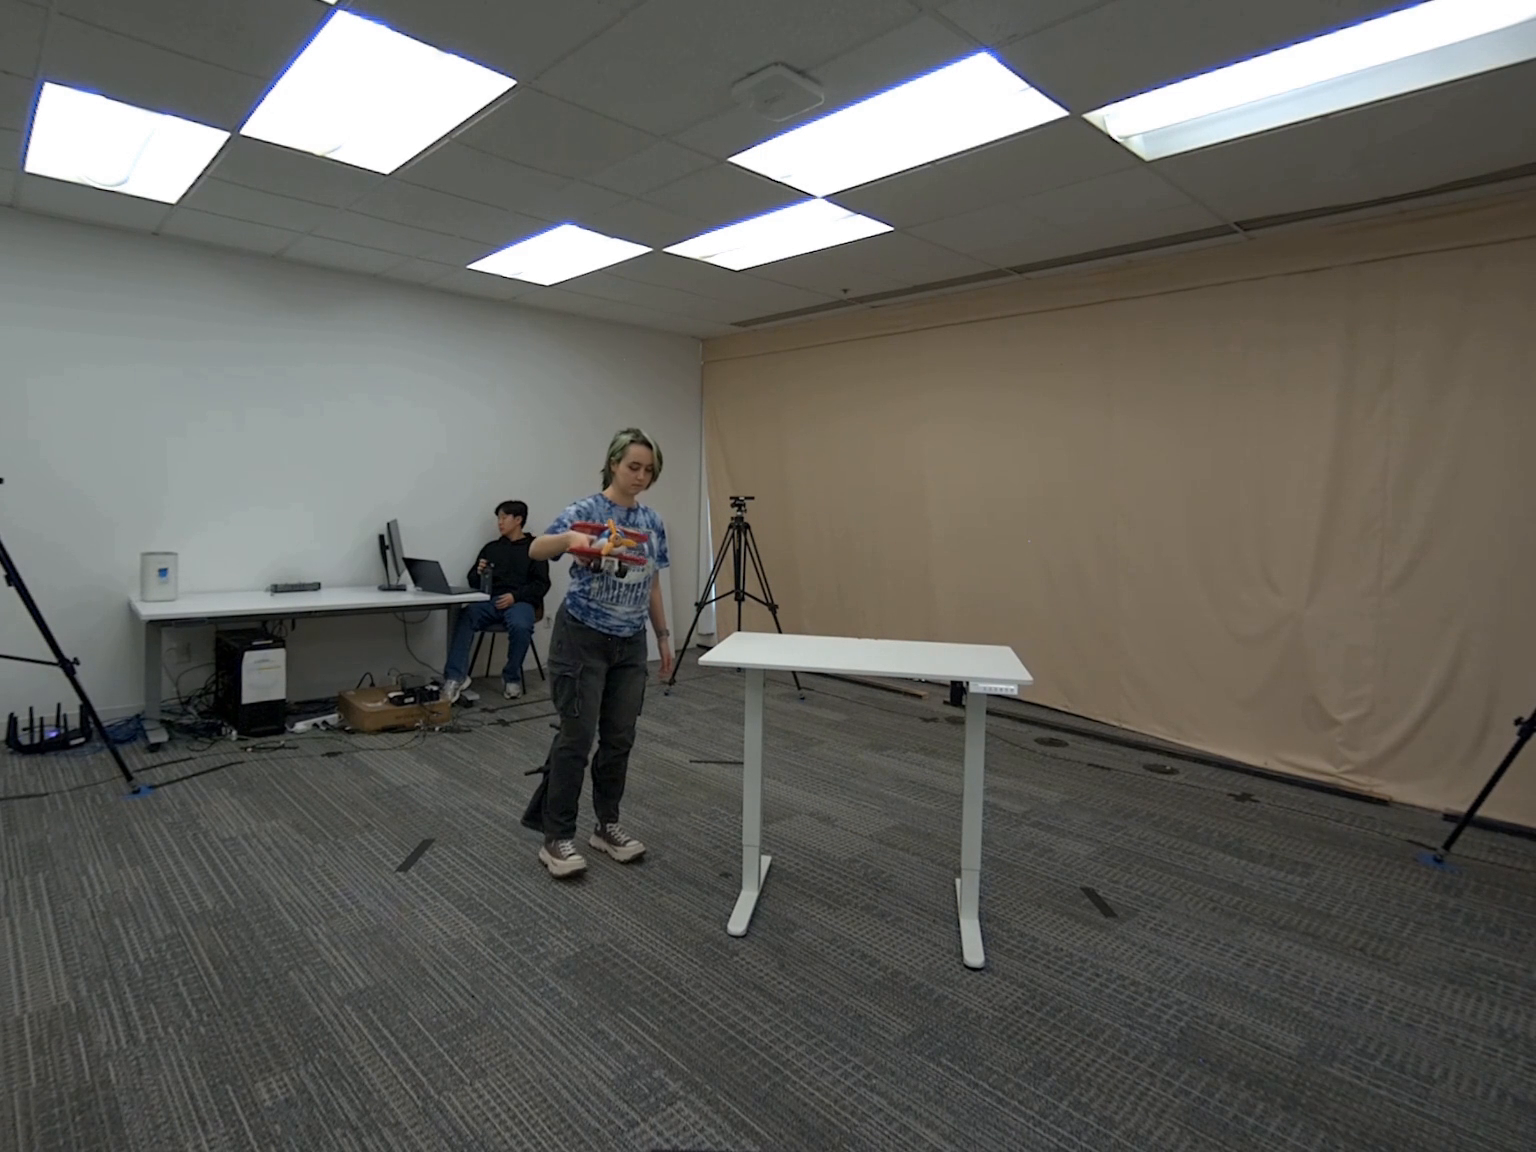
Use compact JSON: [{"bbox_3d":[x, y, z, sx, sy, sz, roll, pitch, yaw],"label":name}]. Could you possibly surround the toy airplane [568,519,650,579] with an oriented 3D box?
[{"bbox_3d":[-0.550,-0.074,2.685,0.266,0.157,0.244,8,-3,39],"label":"toy airplane"}]
